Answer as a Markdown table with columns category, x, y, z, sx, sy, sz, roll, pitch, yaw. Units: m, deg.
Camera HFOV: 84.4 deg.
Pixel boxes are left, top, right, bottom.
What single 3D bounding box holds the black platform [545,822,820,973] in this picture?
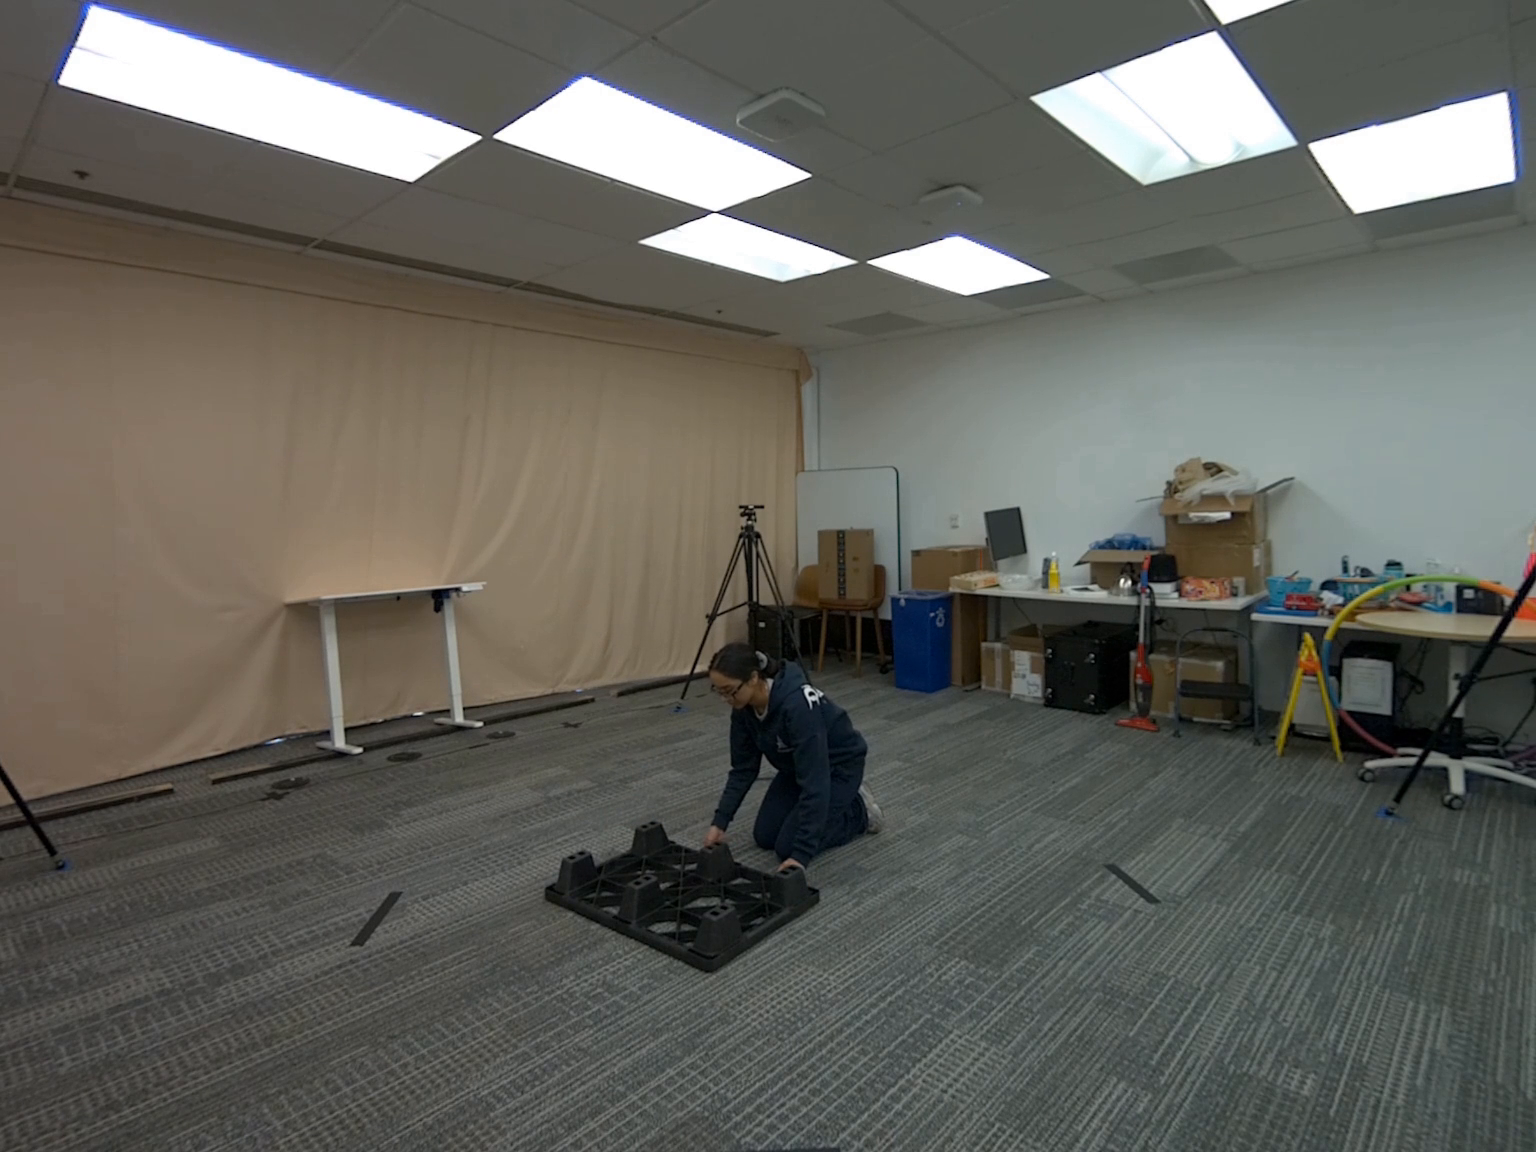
| category | x | y | z | sx | sy | sz | roll | pitch | yaw |
| --- | --- | --- | --- | --- | --- | --- | --- | --- | --- |
| black platform | -0.306 | 1.083 | 2.979 | 0.832 | 0.143 | 0.587 | 3 | 7 | 39 |
